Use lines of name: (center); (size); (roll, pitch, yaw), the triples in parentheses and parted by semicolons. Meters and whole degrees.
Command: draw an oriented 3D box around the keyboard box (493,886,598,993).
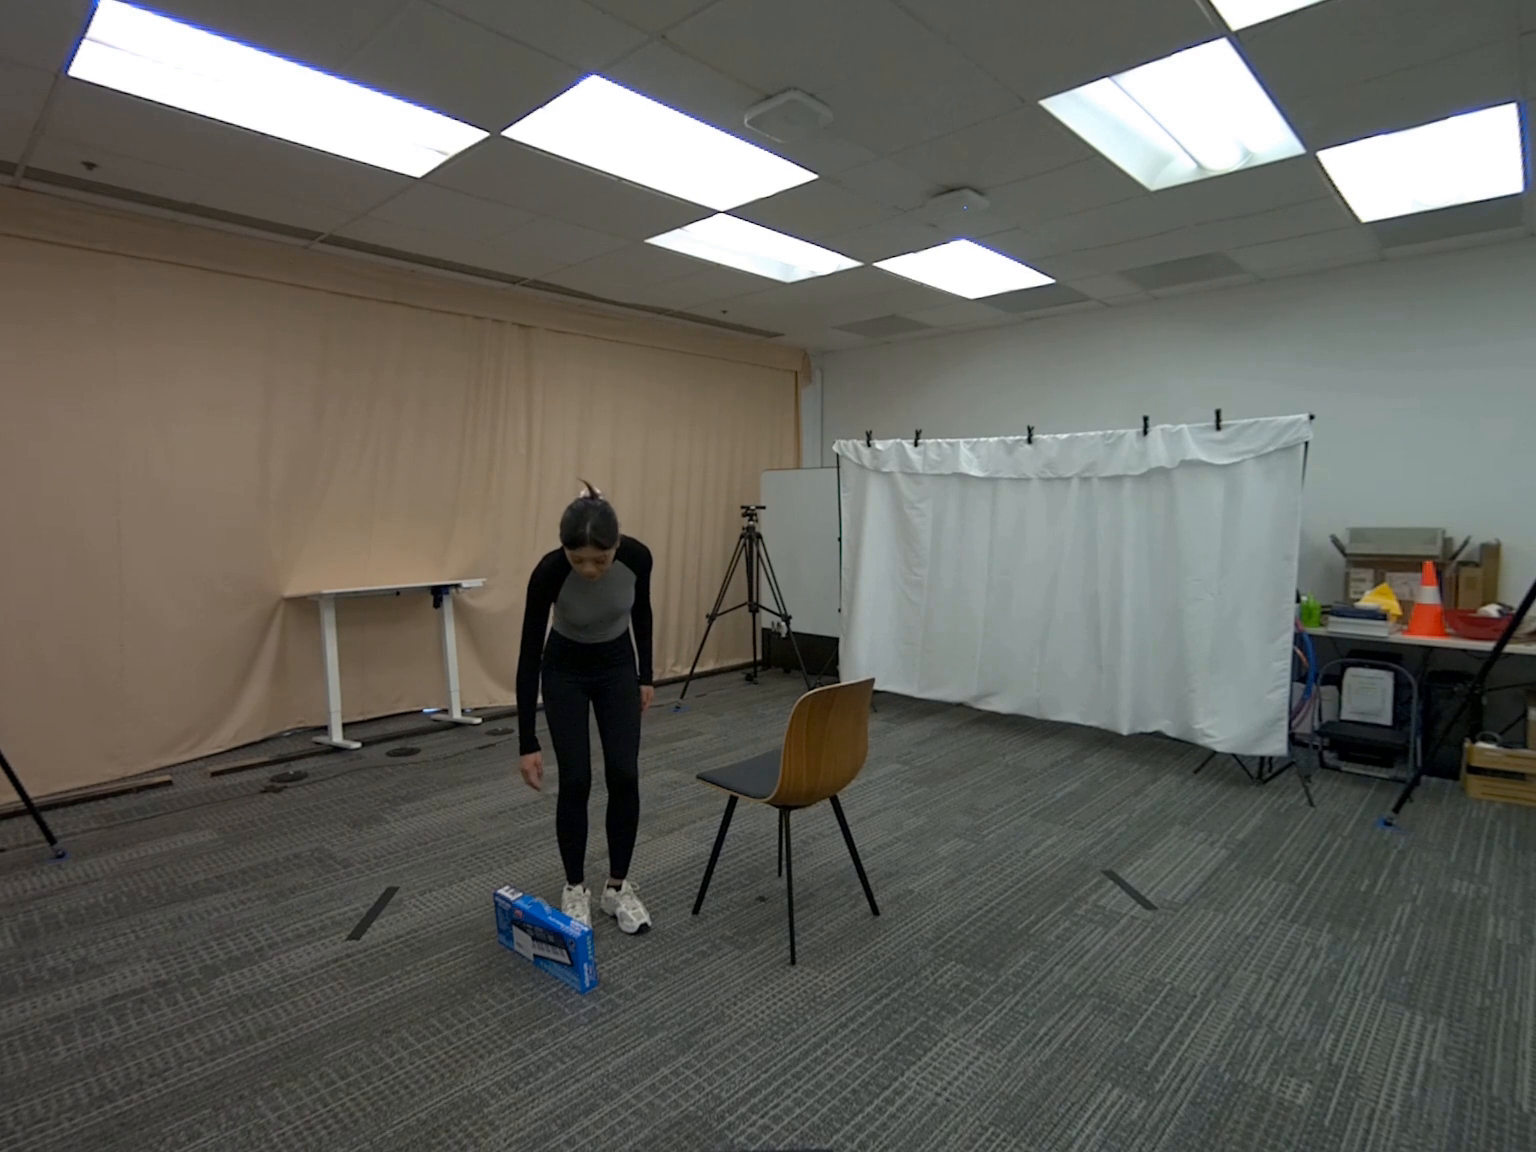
keyboard box: (-0.690, 1.103, 2.556); (0.451, 0.175, 0.057); (3, 9, 42)
